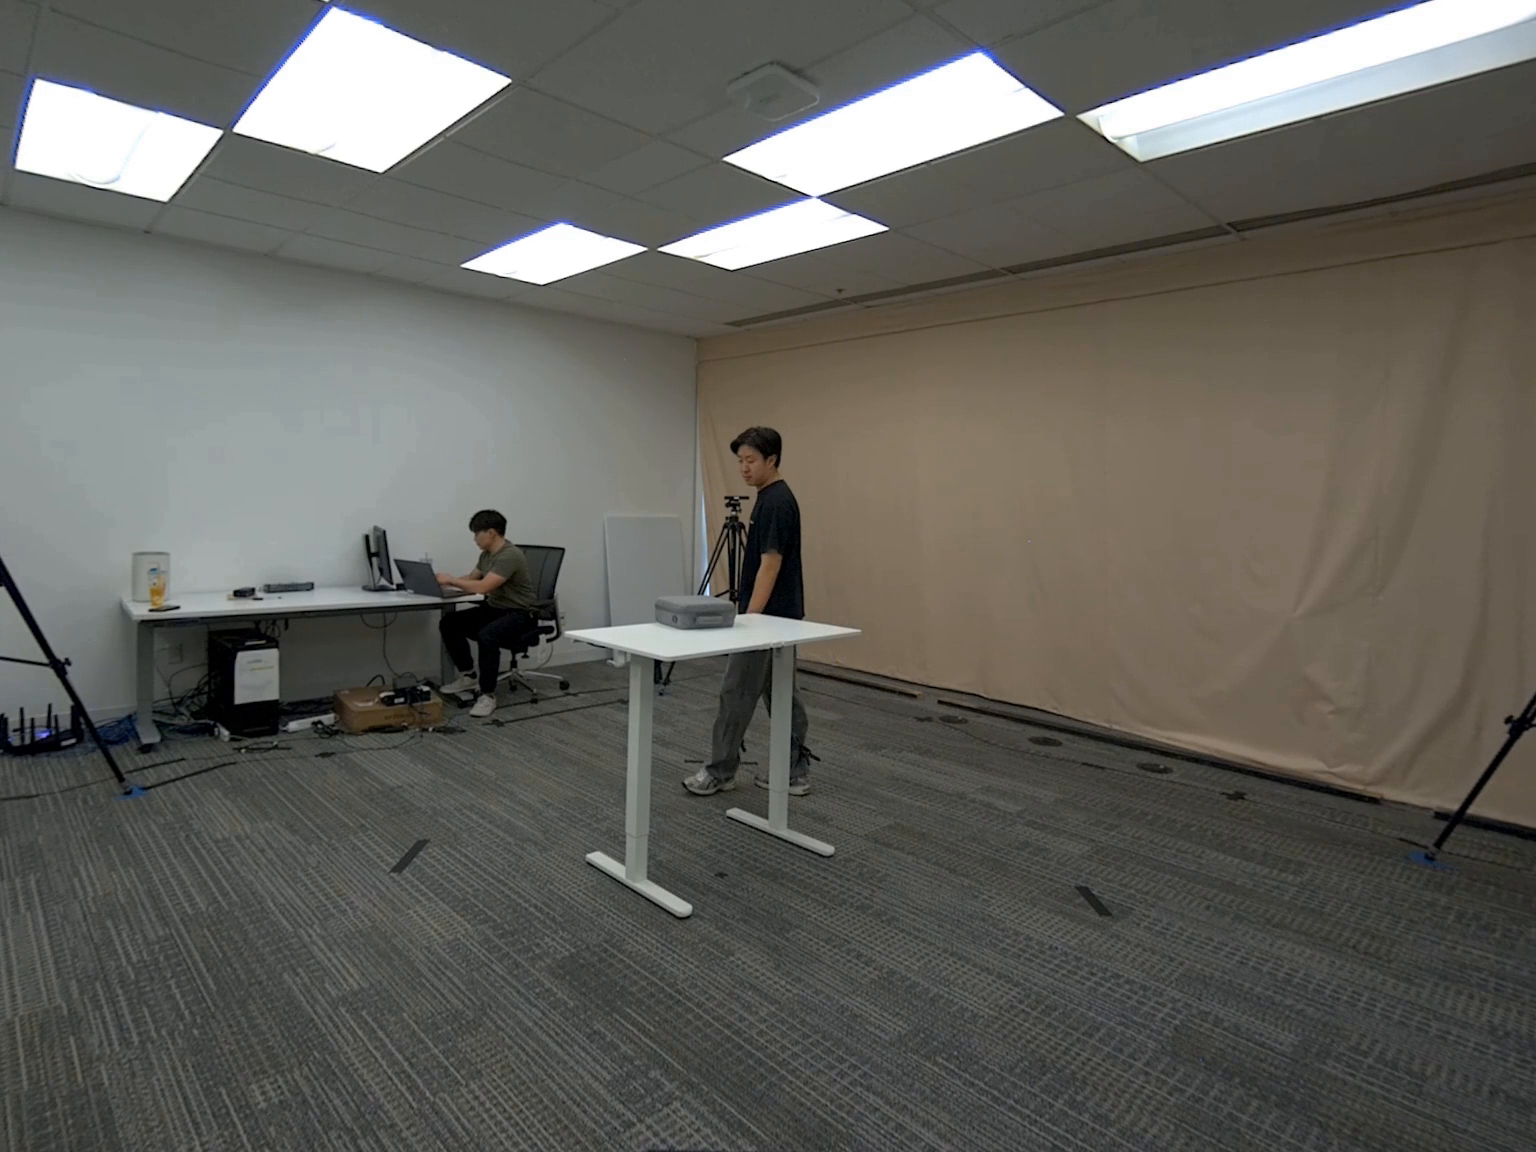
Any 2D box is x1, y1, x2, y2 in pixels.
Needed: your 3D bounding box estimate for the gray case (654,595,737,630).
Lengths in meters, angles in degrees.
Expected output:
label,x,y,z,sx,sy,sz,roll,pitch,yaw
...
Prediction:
label,x,y,z,sx,sy,sz,roll,pitch,yaw
gray case,-0.297,0.142,3.360,0.251,0.104,0.267,0,6,-32
